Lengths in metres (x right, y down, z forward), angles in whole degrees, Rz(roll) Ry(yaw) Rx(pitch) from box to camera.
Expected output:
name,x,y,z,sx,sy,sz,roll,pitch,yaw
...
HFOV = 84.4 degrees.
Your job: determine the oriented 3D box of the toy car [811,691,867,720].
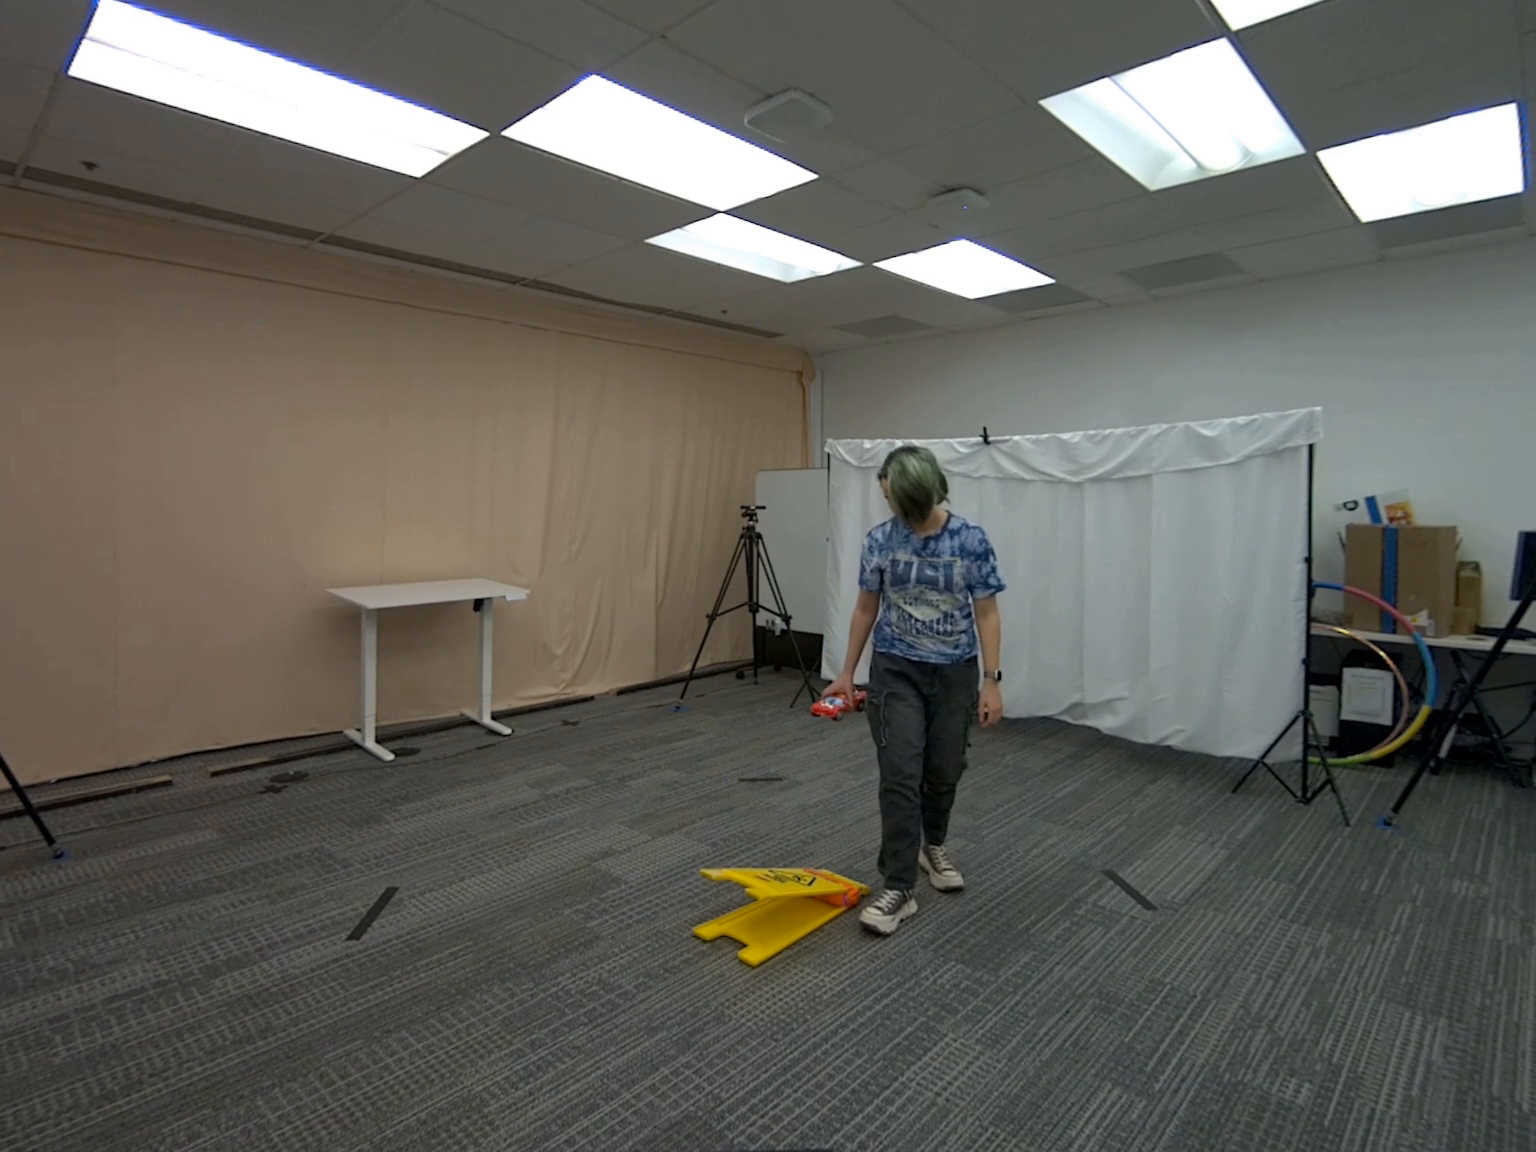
name,x,y,z,sx,sy,sz,roll,pitch,yaw
toy car,0.278,0.472,3.075,0.134,0.082,0.249,4,20,39
